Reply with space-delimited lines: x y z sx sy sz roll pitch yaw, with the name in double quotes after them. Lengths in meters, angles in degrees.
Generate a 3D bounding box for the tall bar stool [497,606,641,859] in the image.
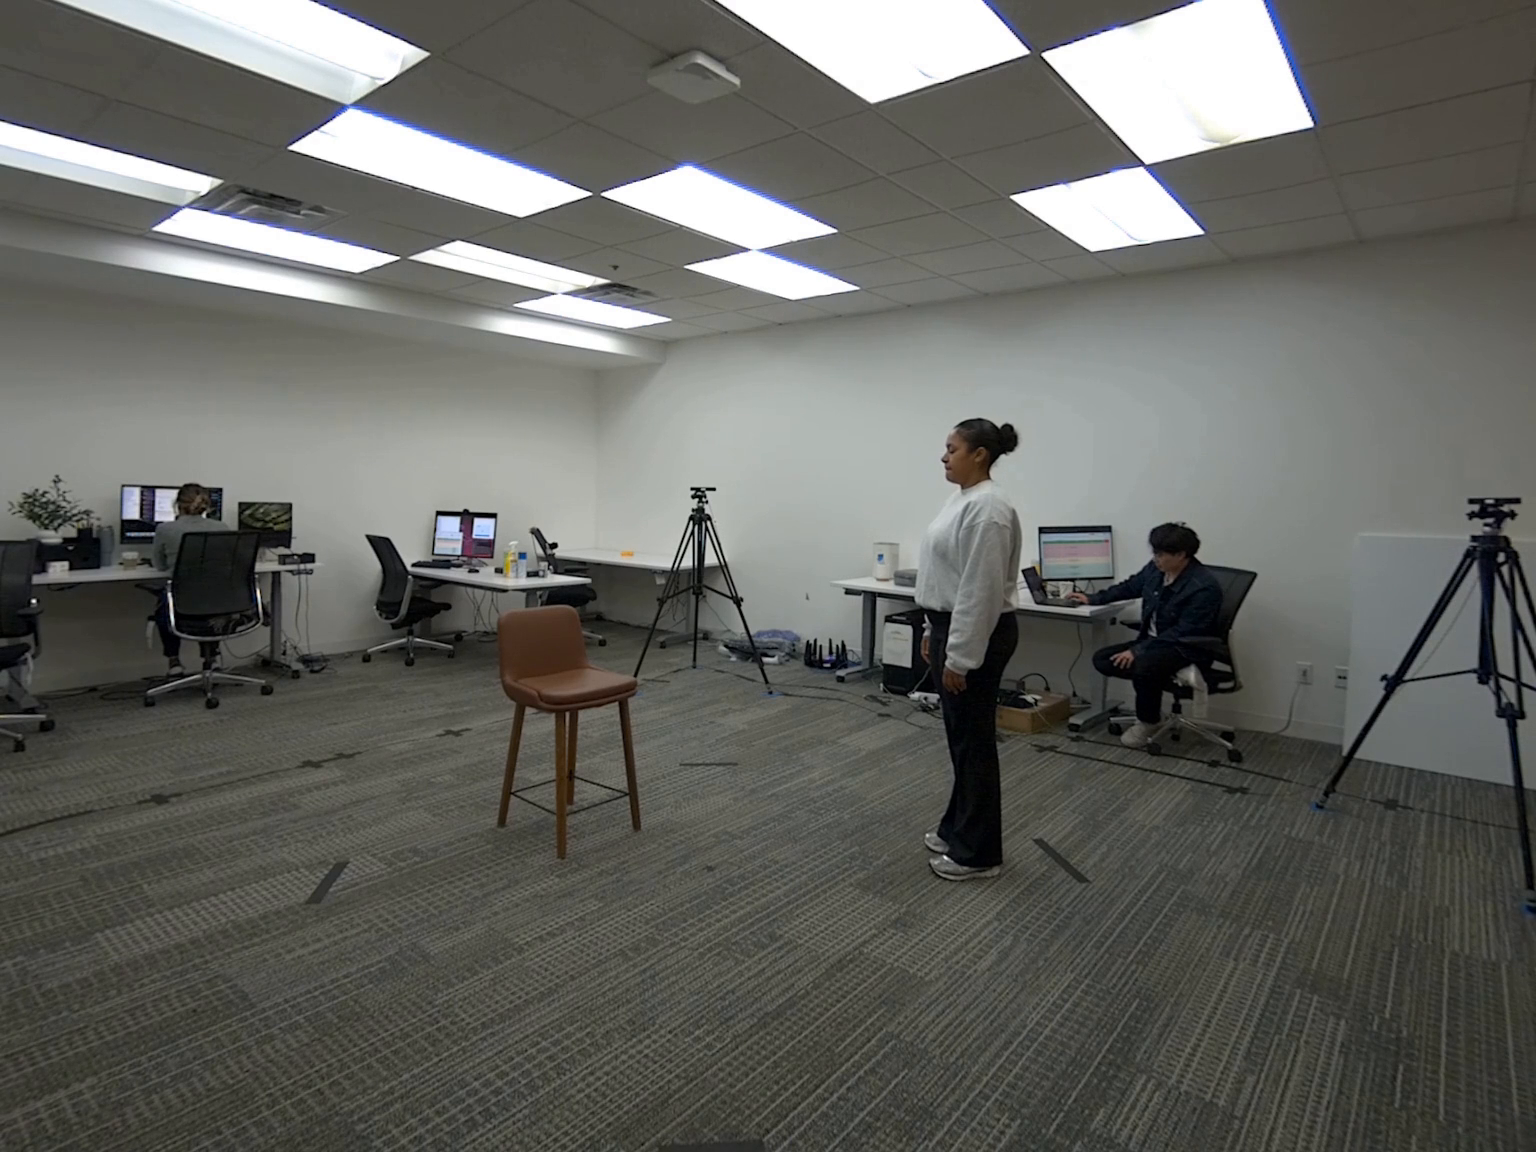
-0.826 0.587 3.447 0.483 0.889 0.442 1 2 41 "tall bar stool"
